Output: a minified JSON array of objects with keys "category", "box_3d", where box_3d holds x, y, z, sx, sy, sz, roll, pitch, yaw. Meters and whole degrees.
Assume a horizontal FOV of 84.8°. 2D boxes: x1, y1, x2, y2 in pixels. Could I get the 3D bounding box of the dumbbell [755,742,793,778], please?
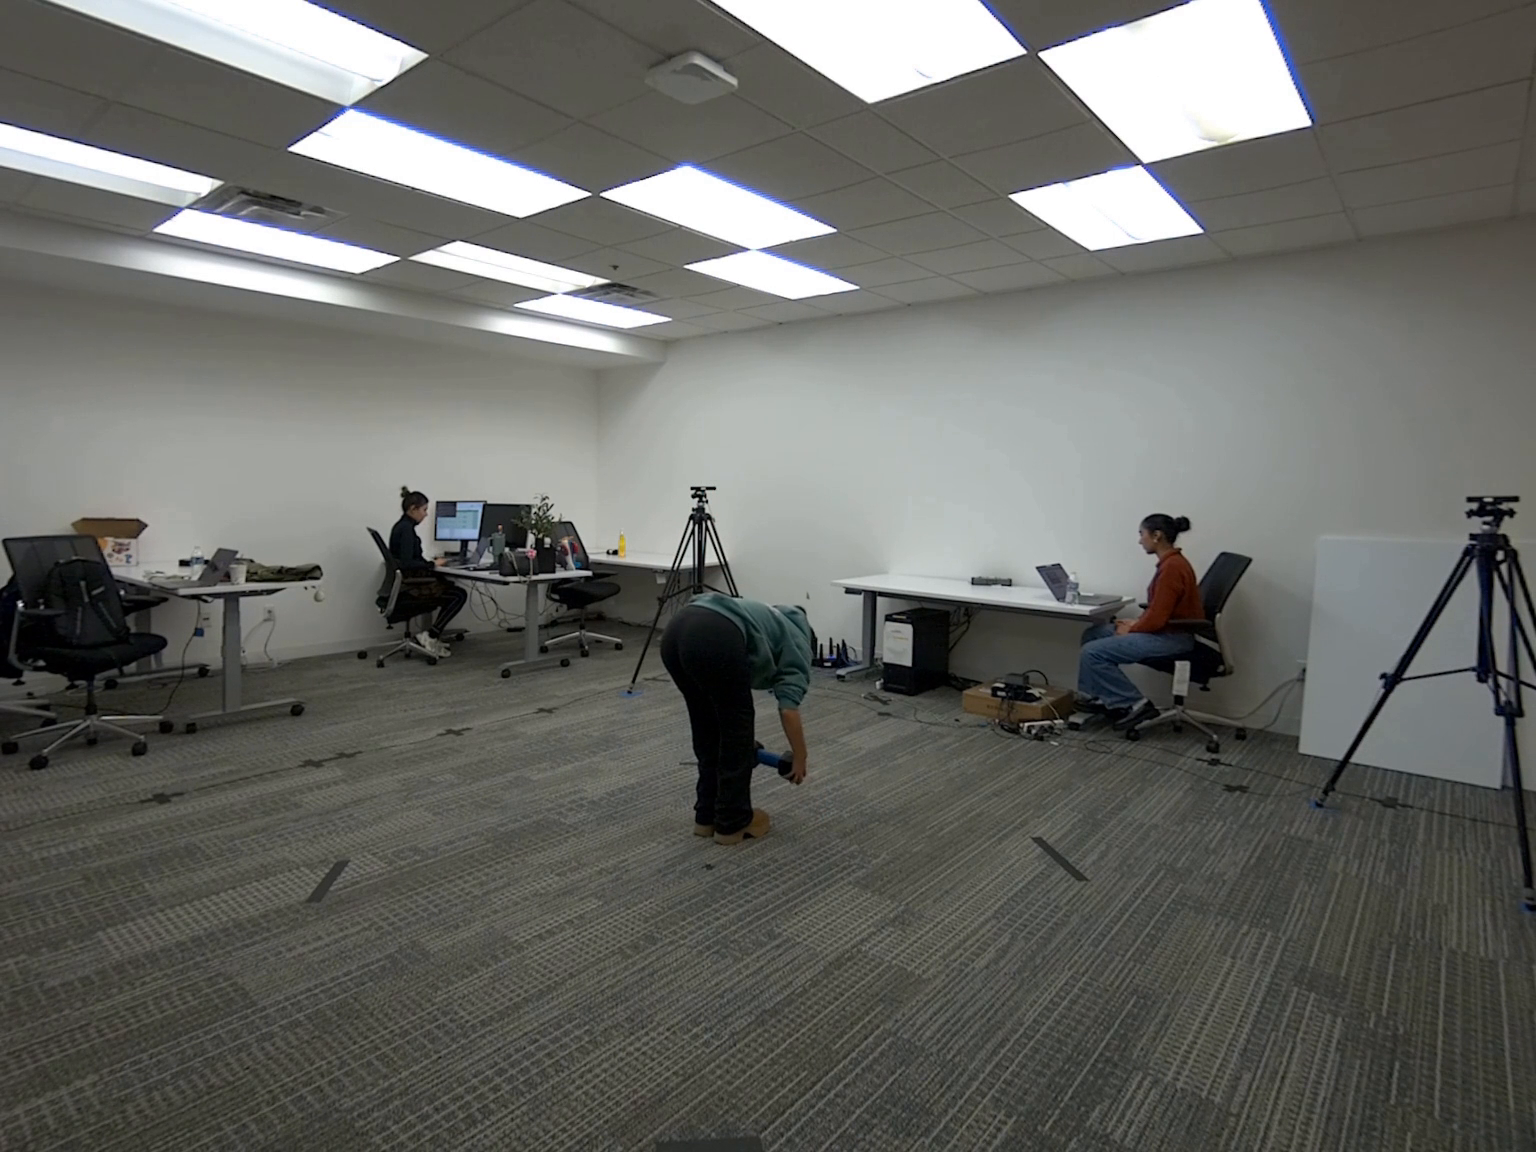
[{"category":"dumbbell","box_3d":[-0.001,0.771,3.584,0.304,0.122,0.105,10,4,37]}]
